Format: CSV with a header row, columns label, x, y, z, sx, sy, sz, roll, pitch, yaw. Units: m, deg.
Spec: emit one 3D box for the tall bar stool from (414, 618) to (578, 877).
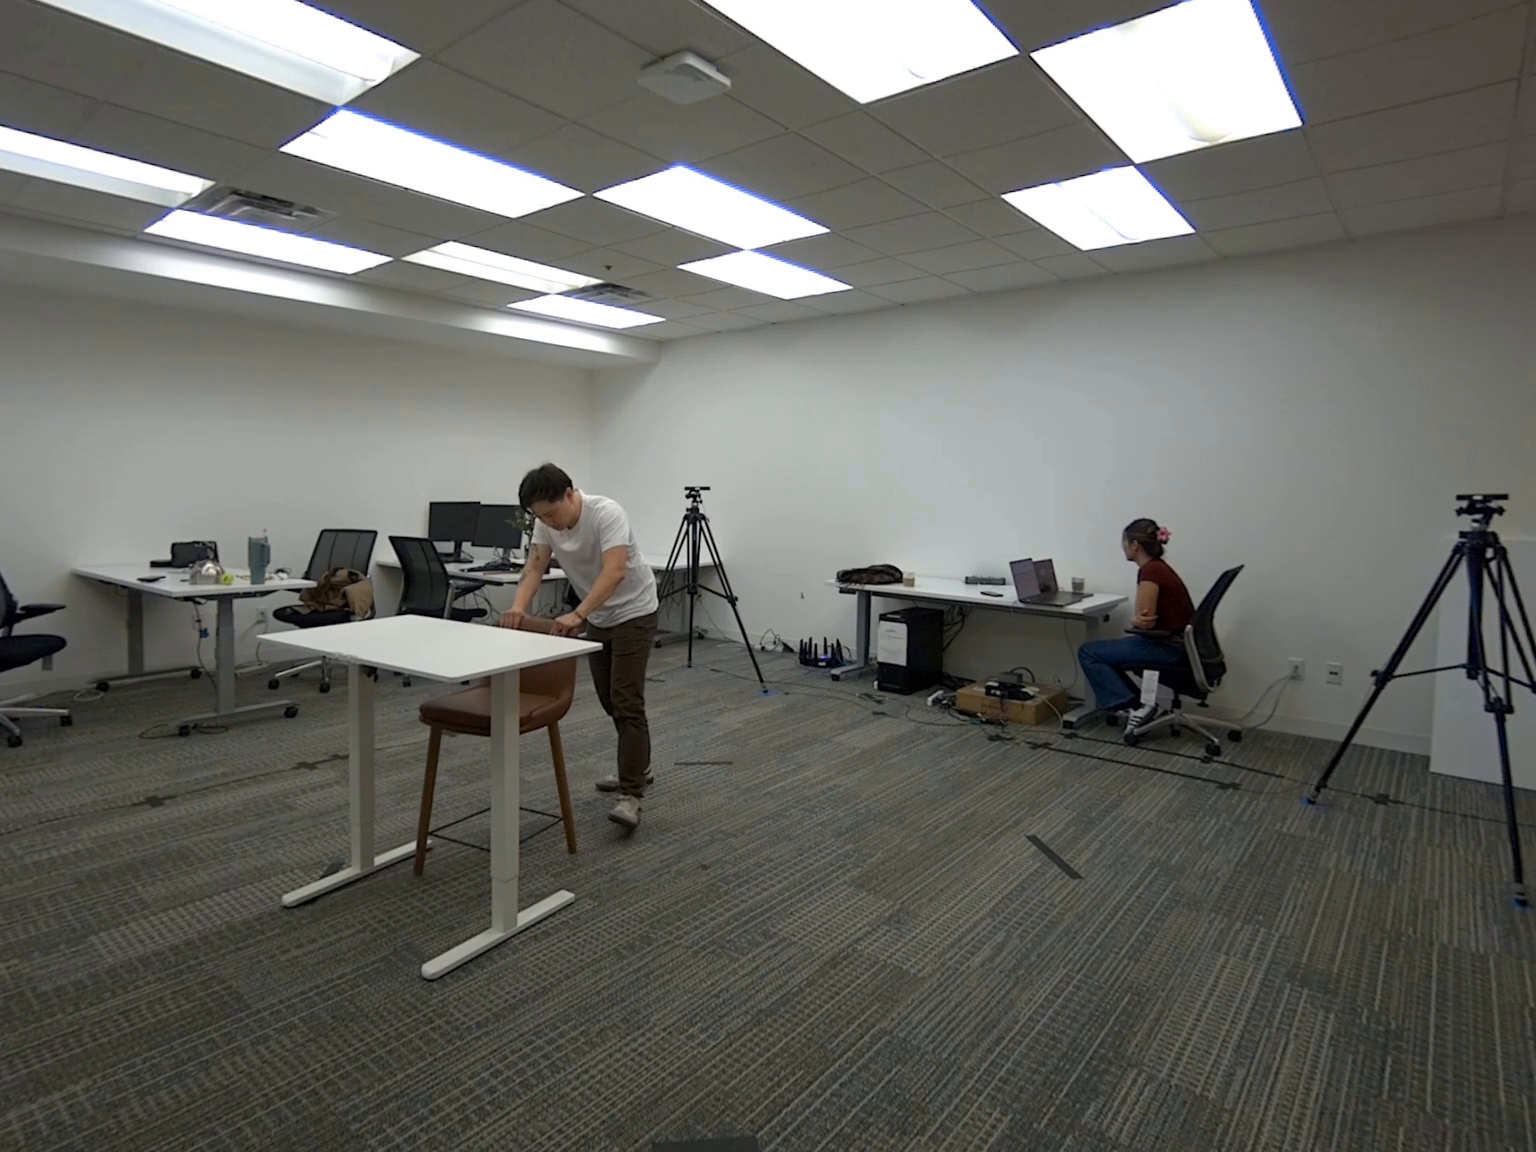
label,x,y,z,sx,sy,sz,roll,pitch,yaw
tall bar stool,-0.989,0.618,3.118,0.469,0.890,0.455,2,0,28
